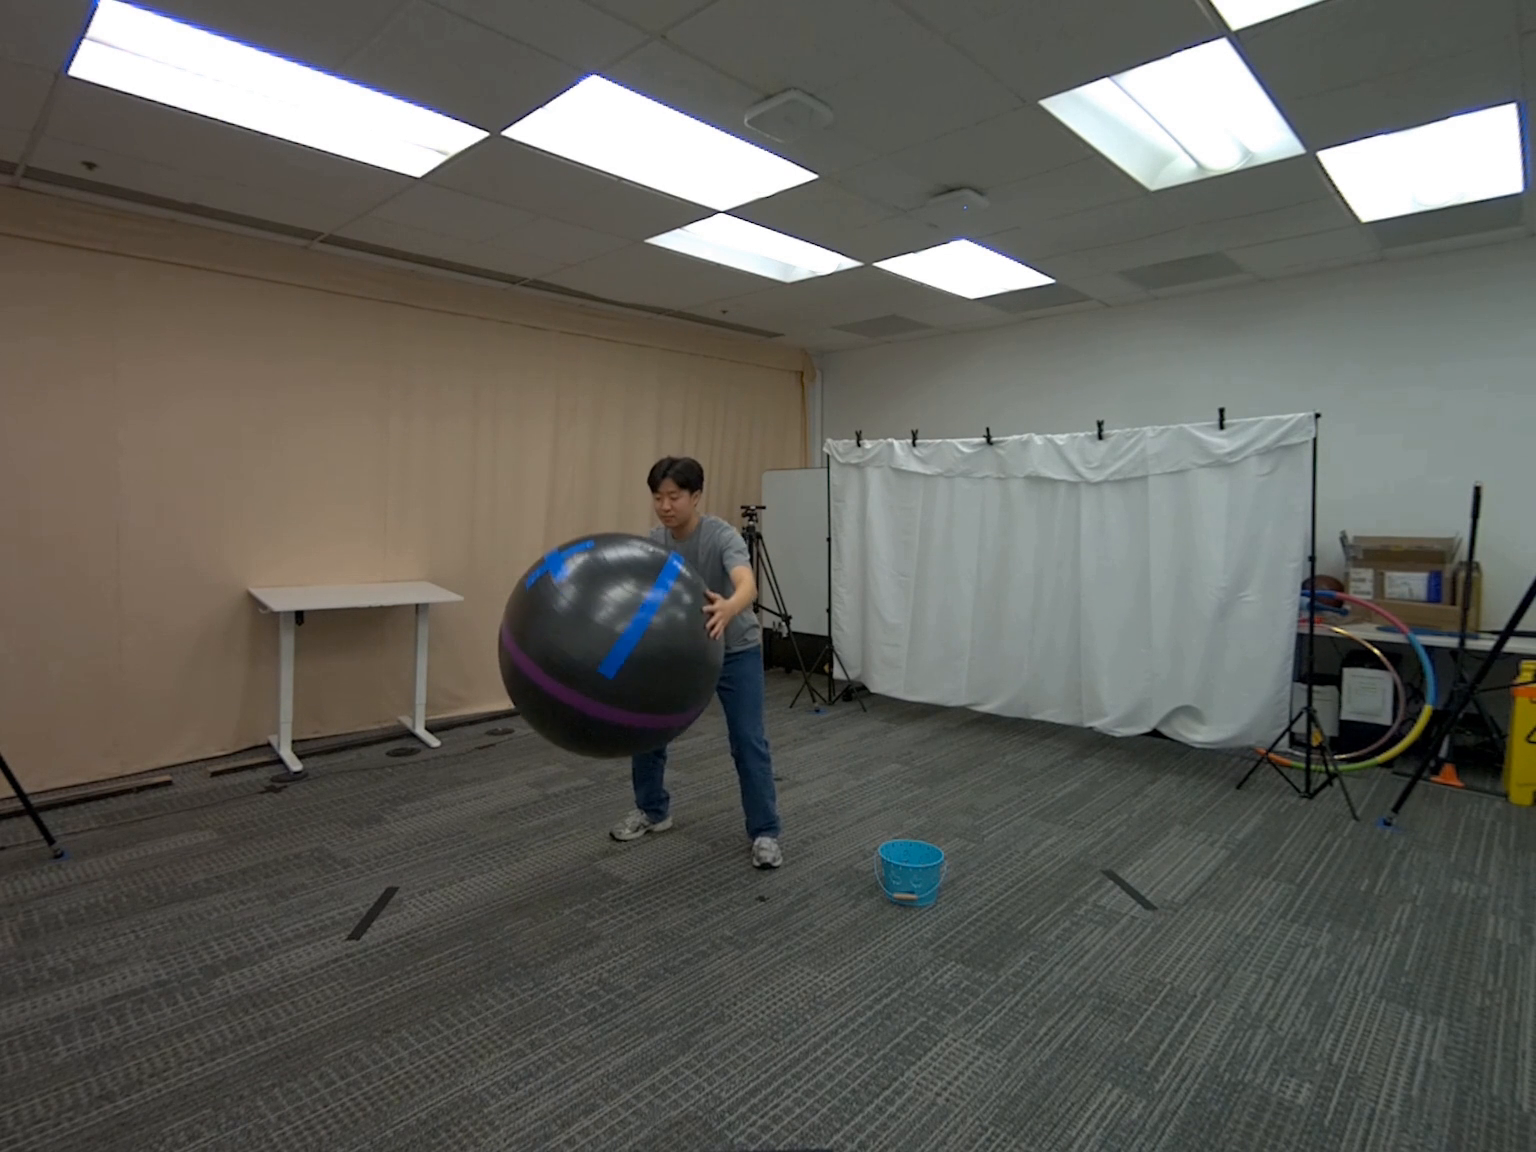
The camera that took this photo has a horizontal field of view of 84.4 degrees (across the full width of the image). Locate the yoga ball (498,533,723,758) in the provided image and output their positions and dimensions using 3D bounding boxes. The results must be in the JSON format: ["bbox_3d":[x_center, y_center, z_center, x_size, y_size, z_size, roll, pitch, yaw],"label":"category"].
[{"bbox_3d":[-0.536,0.234,2.866,0.757,0.756,0.760,0,4,-2],"label":"yoga ball"}]
